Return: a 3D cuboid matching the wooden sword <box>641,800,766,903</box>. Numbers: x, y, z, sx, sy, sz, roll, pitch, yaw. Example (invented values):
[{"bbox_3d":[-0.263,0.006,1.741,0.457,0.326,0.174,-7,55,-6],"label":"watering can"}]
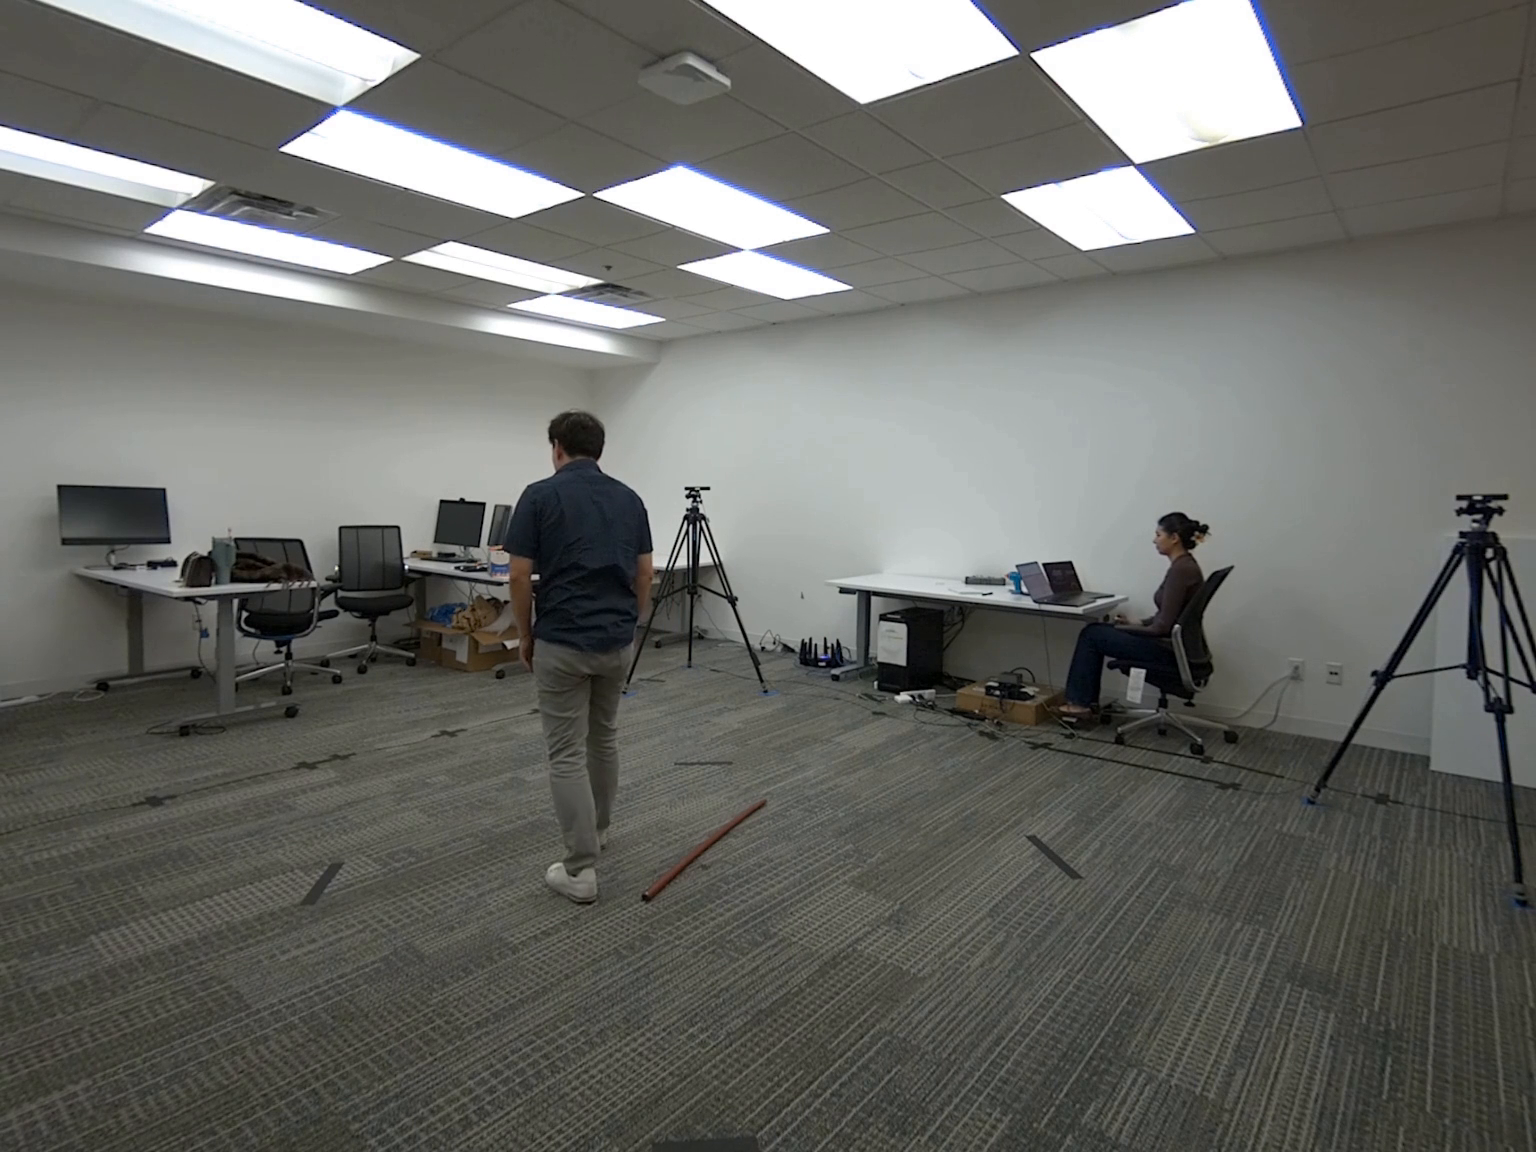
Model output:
[{"bbox_3d":[-0.232,1.022,3.293,0.052,0.024,1.004,-20,-3,23],"label":"wooden sword"}]
